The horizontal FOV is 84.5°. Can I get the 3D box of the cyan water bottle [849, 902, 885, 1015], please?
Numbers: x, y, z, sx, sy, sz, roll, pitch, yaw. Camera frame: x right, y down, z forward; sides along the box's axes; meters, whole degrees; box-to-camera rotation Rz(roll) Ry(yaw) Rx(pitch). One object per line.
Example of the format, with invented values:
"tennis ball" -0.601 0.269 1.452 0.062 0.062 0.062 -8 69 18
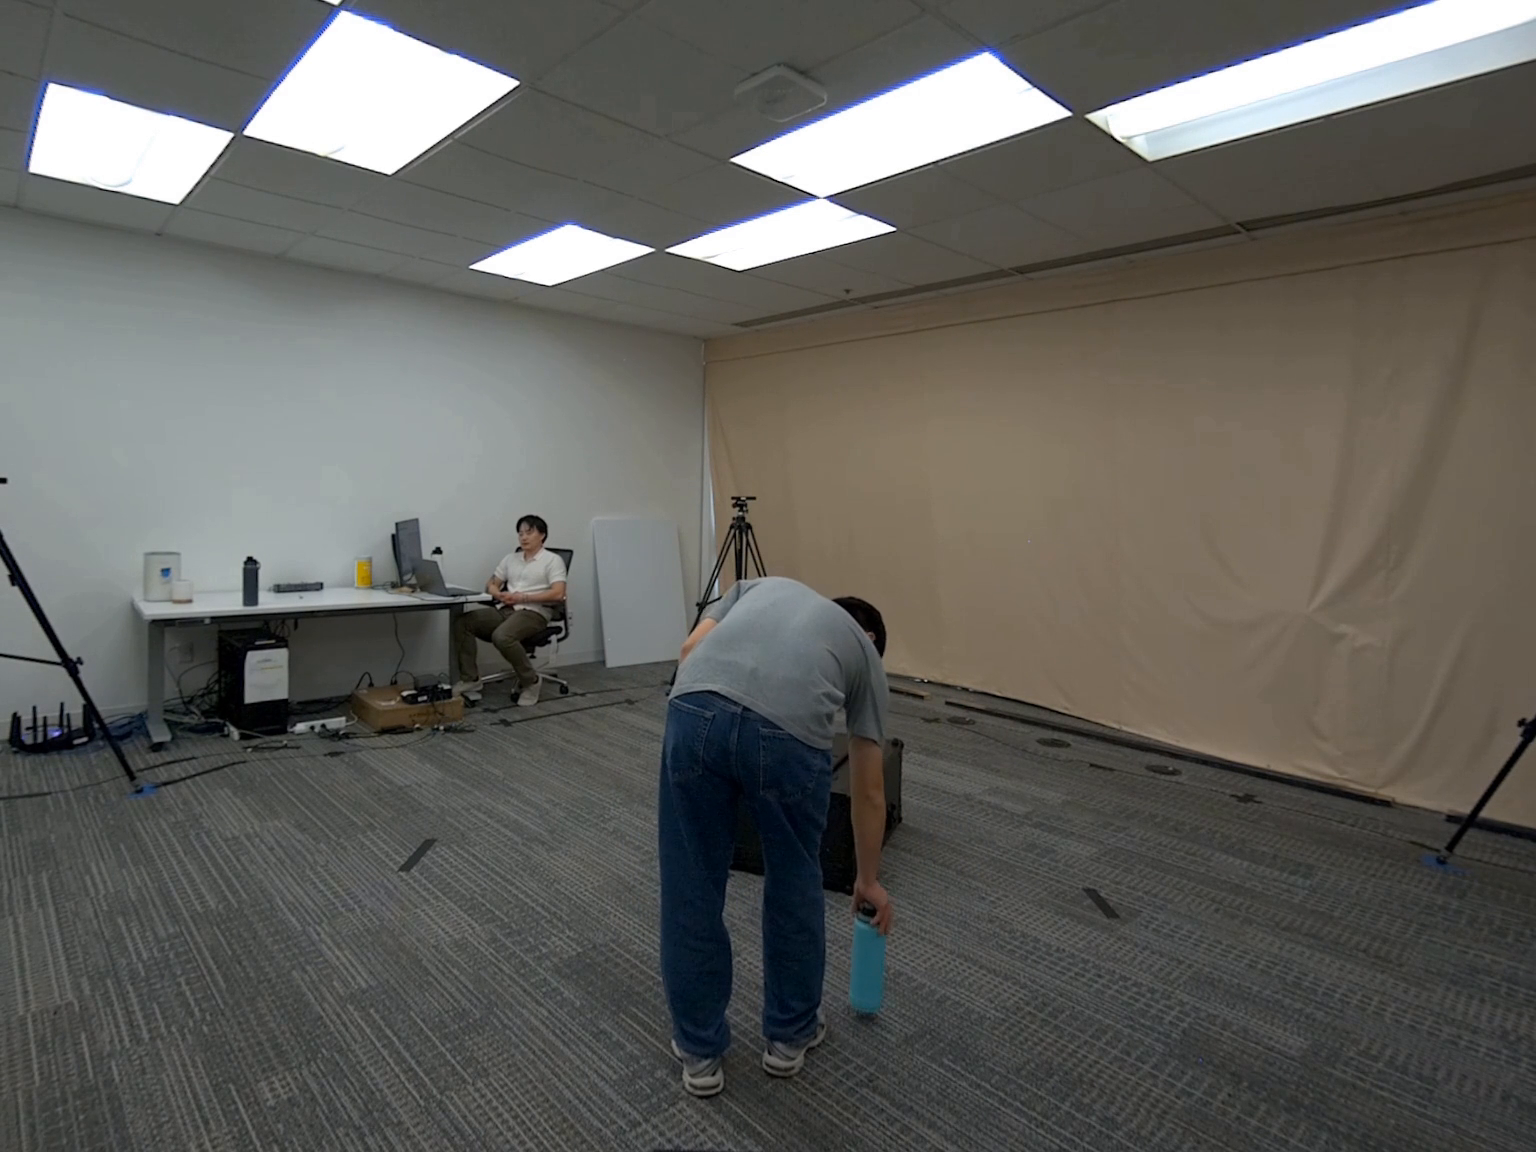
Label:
"cyan water bottle" 0.264 1.013 2.267 0.092 0.284 0.092 2 -4 -1
